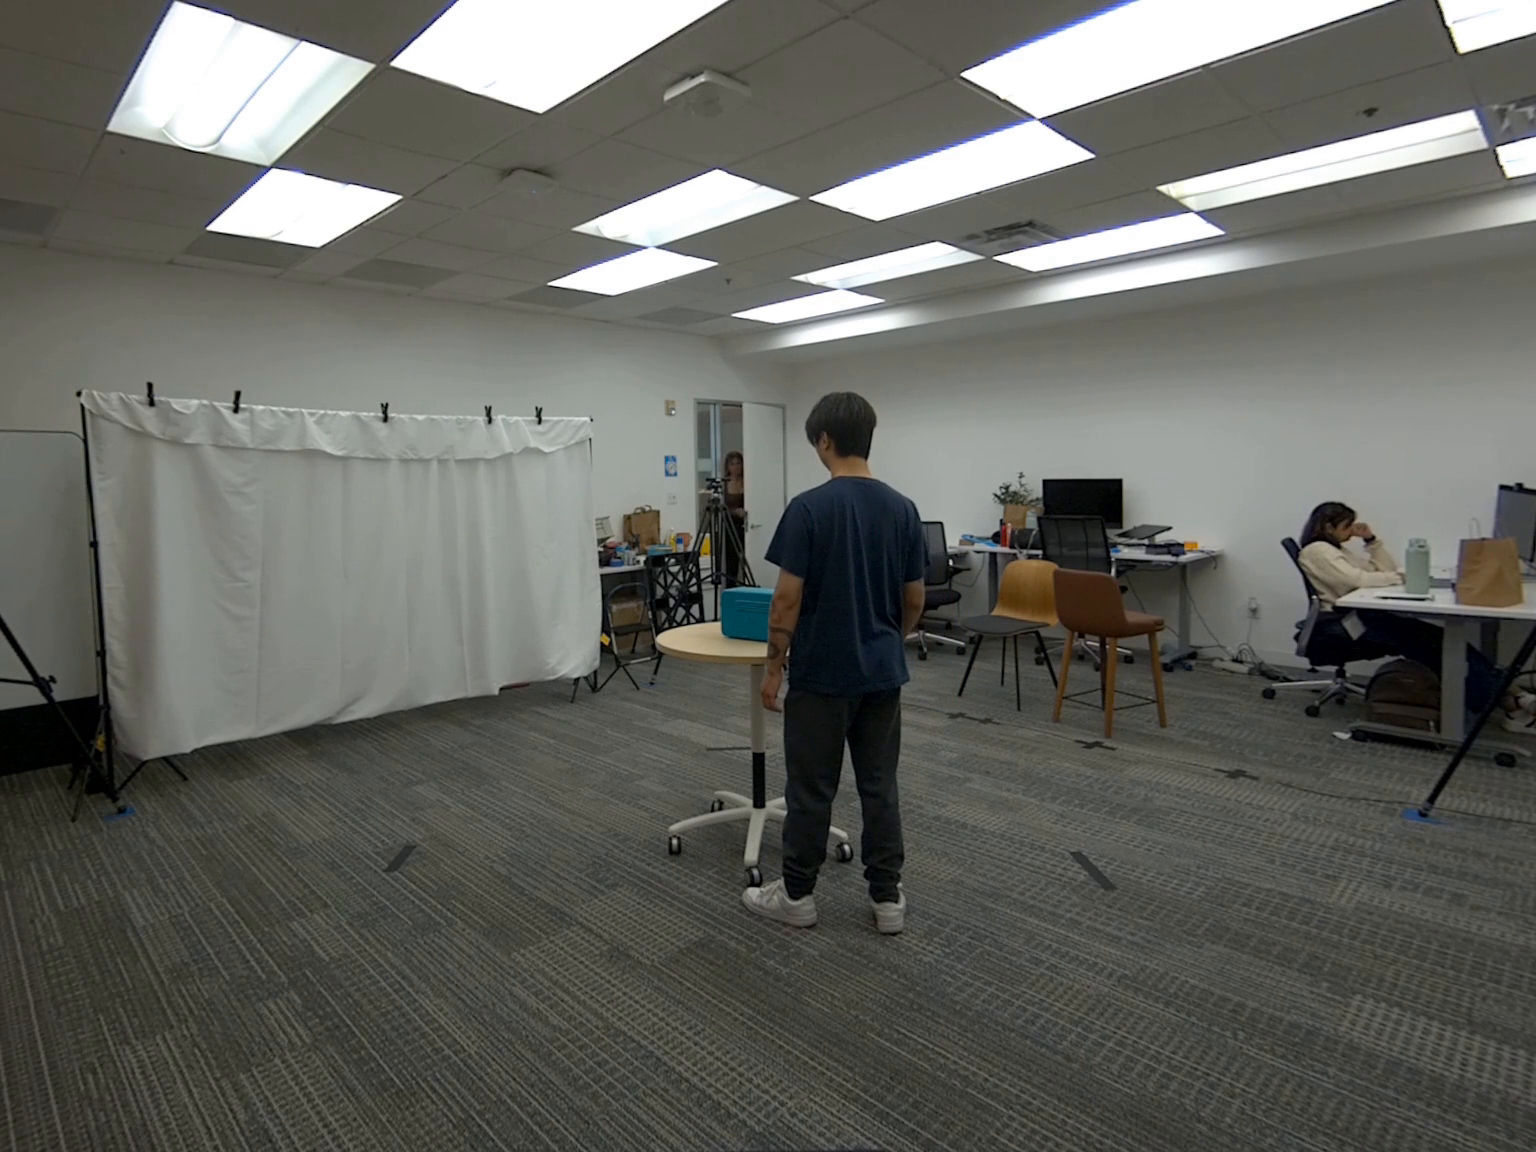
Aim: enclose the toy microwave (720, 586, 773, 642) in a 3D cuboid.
[{"bbox_3d":[-0.024,0.144,3.194,0.294,0.184,0.148,3,4,32],"label":"toy microwave"}]
